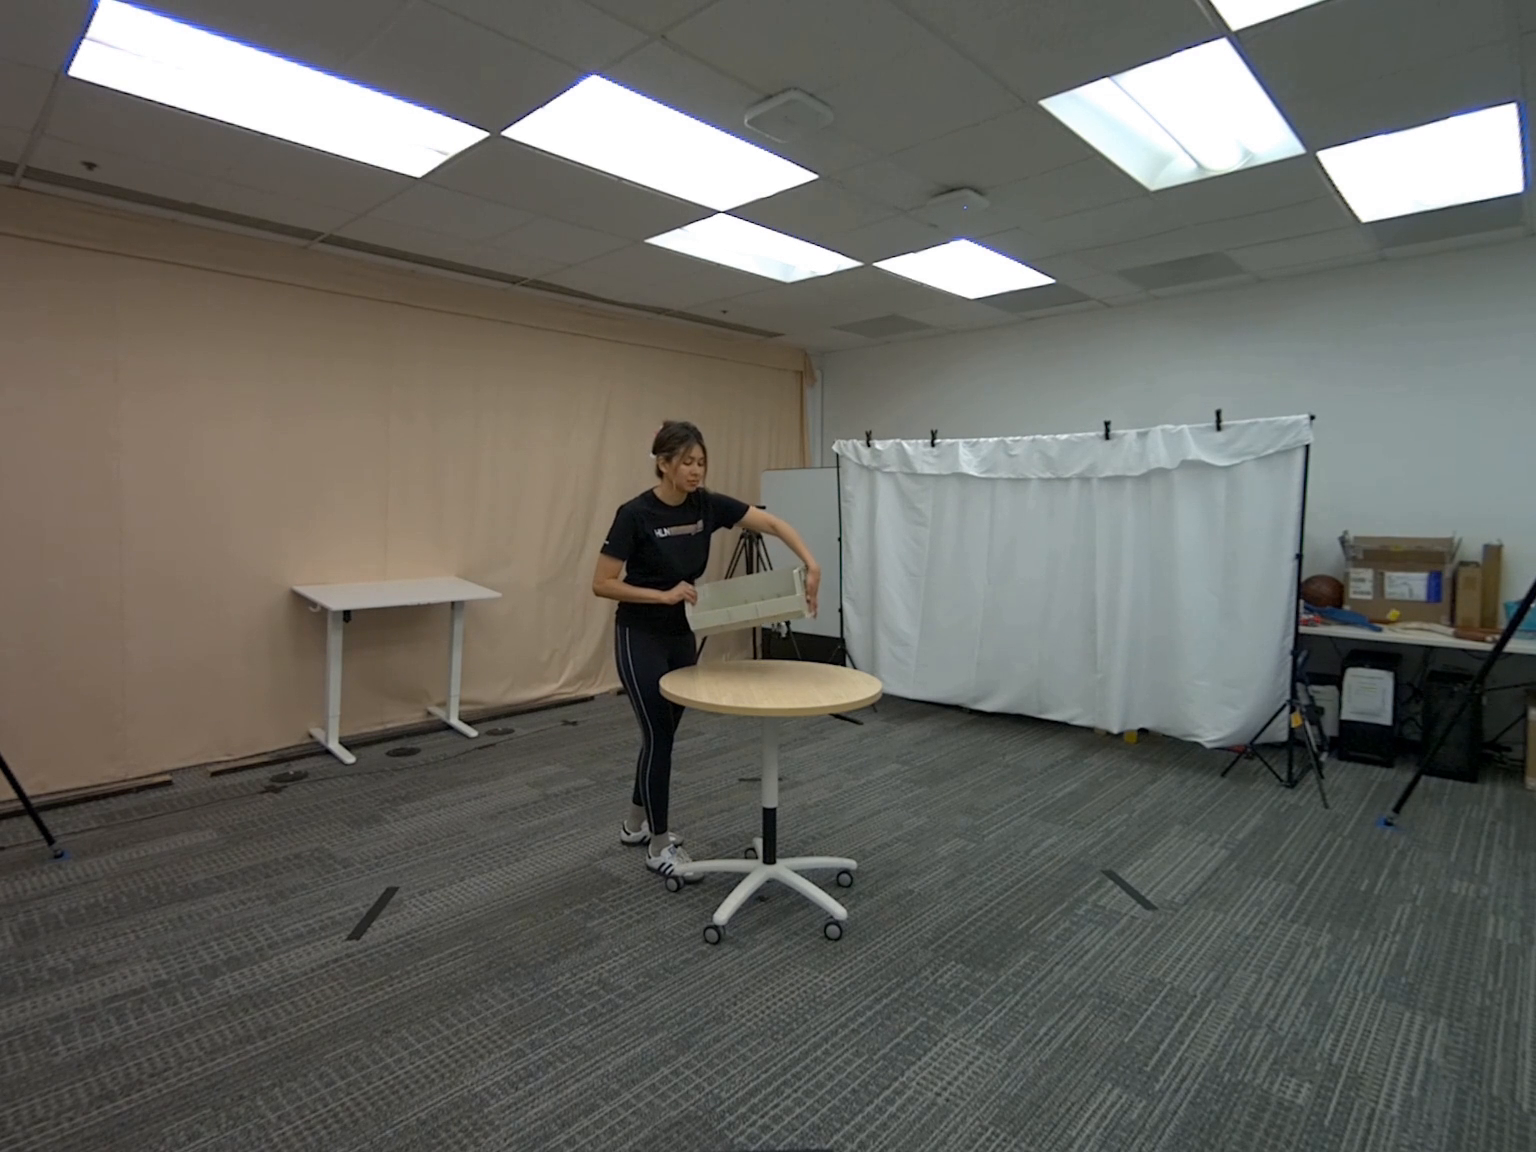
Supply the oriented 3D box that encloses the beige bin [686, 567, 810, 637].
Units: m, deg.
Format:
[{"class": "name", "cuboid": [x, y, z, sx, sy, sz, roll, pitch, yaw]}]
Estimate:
[{"class": "beige bin", "cuboid": [-0.061, 0.090, 3.100, 0.427, 0.189, 0.372, -11, -2, 12]}]
